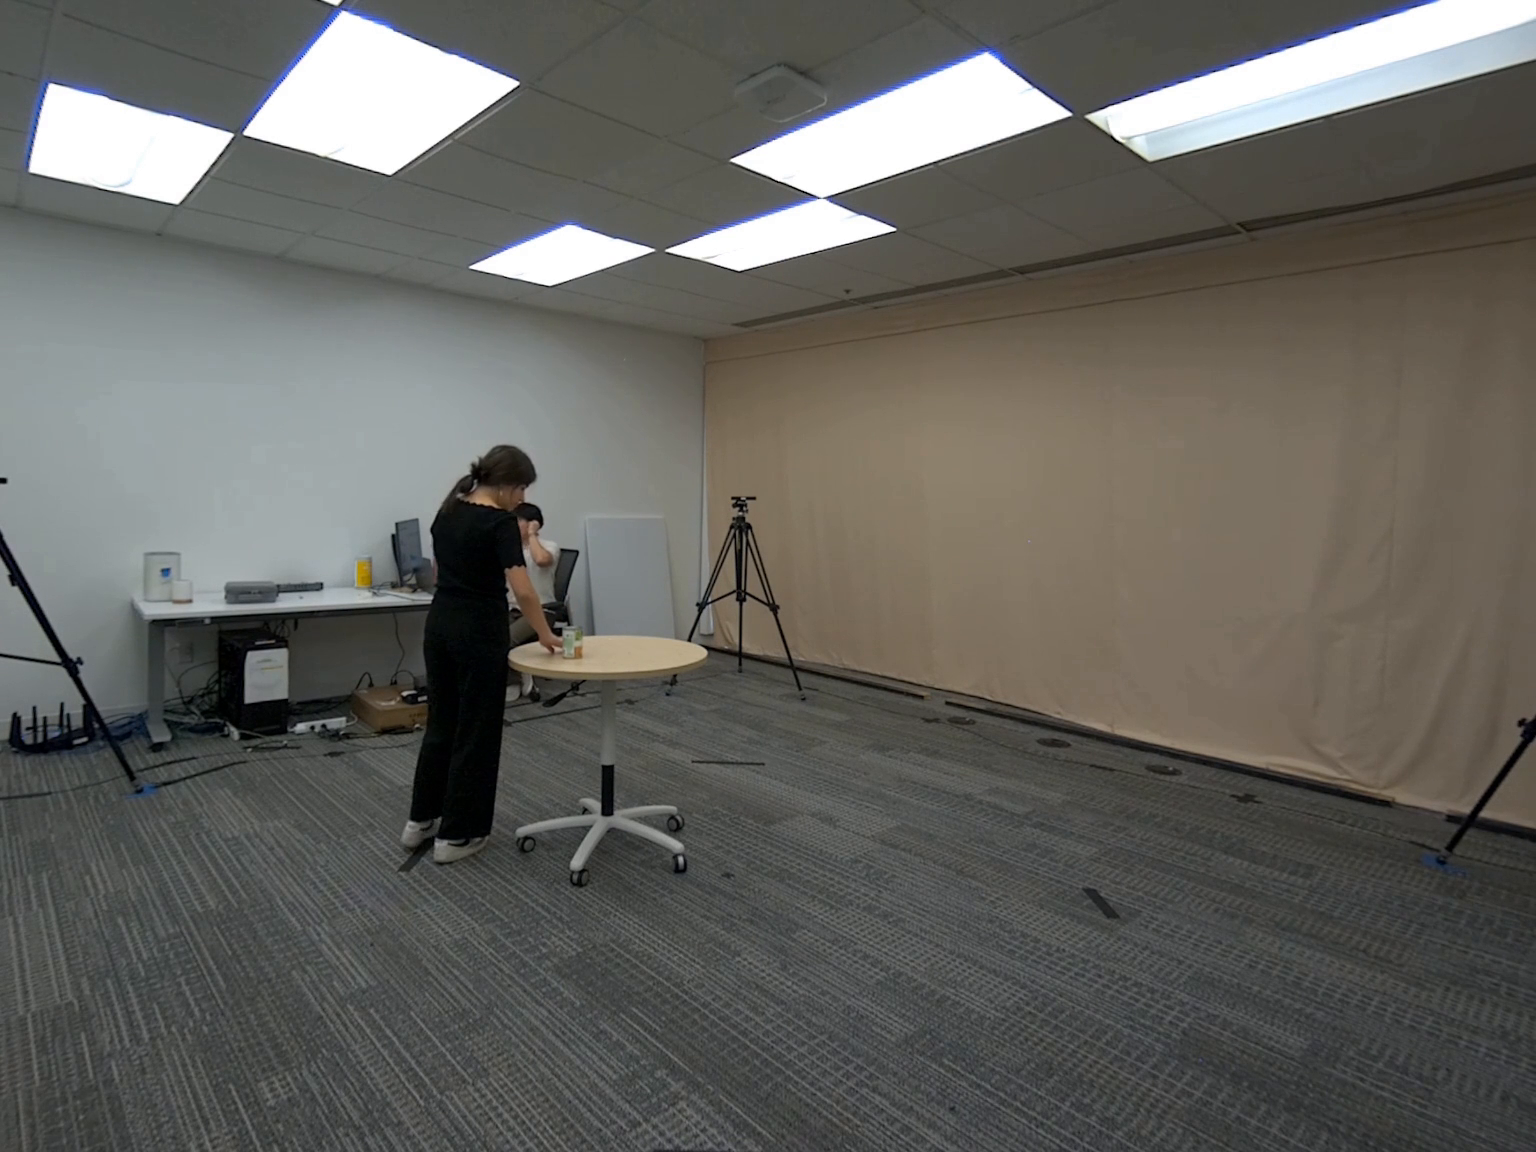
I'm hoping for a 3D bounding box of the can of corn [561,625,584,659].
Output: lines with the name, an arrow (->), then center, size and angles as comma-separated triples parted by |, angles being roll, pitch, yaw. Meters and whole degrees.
can of corn -> -0.748, 0.254, 3.138 | 0.074, 0.111, 0.074 | -3, 2, -1
